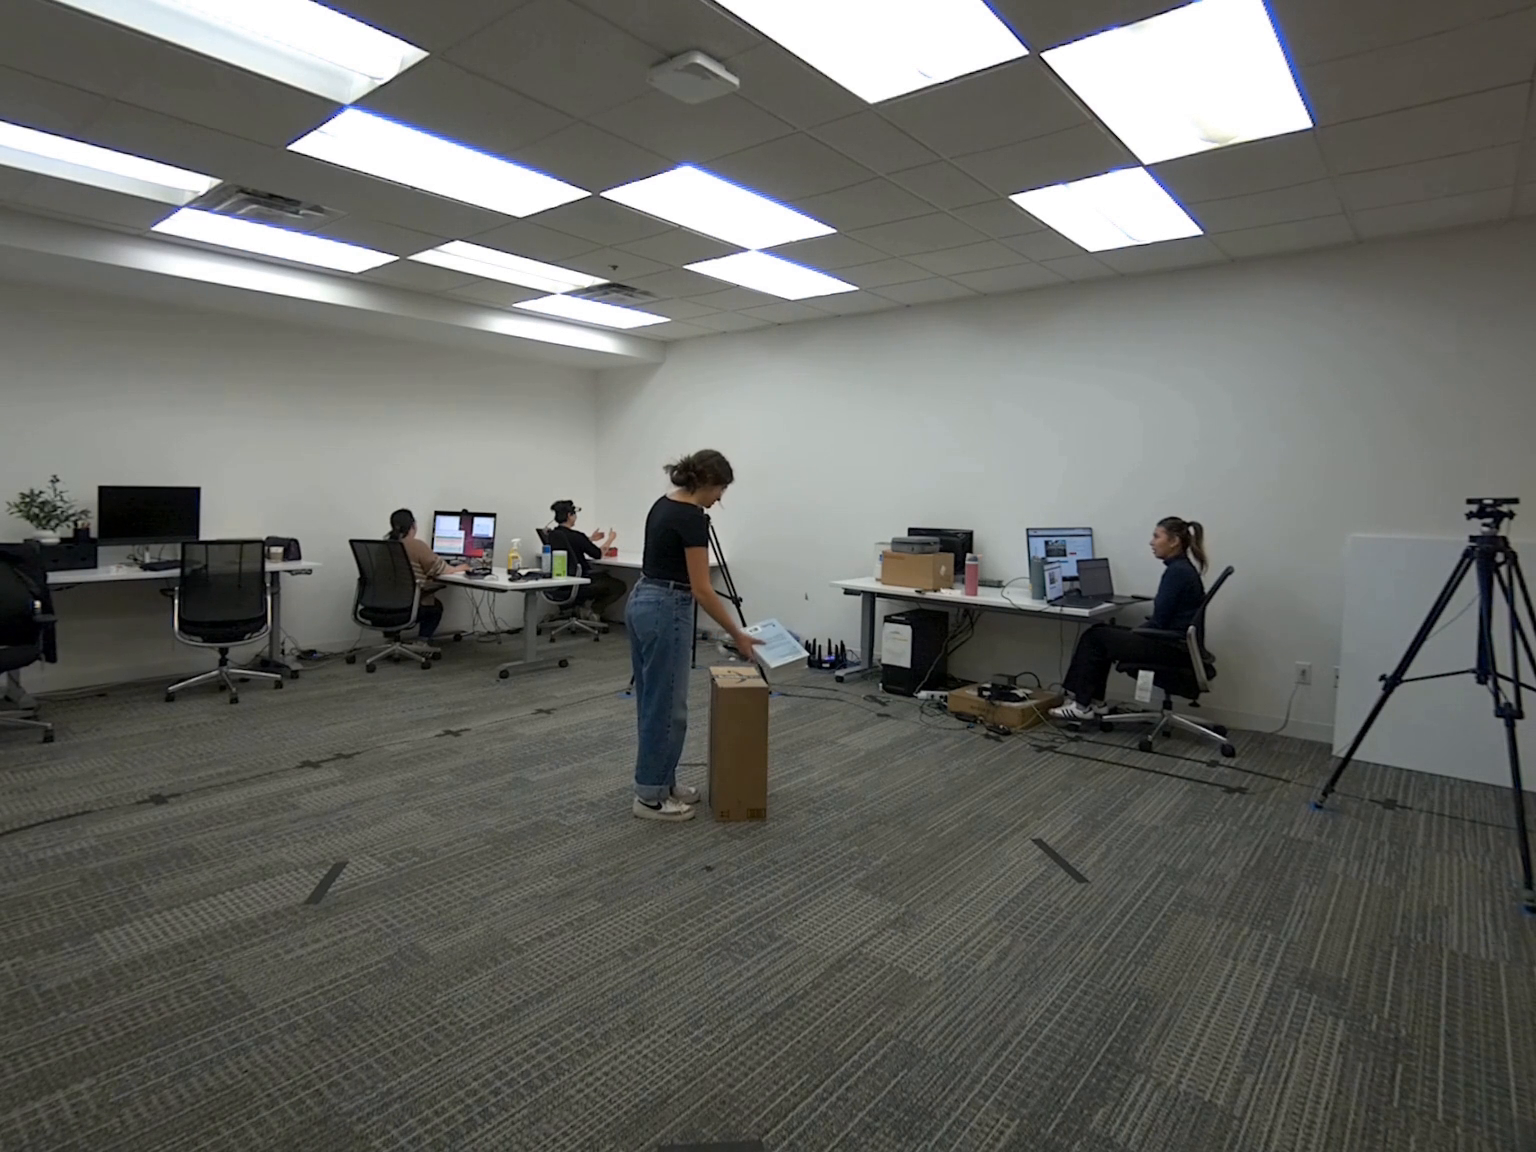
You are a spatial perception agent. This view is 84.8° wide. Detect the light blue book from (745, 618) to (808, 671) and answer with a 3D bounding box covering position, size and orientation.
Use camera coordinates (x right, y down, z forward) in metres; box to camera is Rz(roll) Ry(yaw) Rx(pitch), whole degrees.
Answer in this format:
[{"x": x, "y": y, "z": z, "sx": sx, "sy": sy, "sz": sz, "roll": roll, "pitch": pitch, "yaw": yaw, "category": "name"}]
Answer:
[{"x": 0.018, "y": 0.296, "z": 3.510, "sx": 0.187, "sy": 0.058, "sz": 0.272, "roll": -16, "pitch": 40, "yaw": -30, "category": "light blue book"}]
